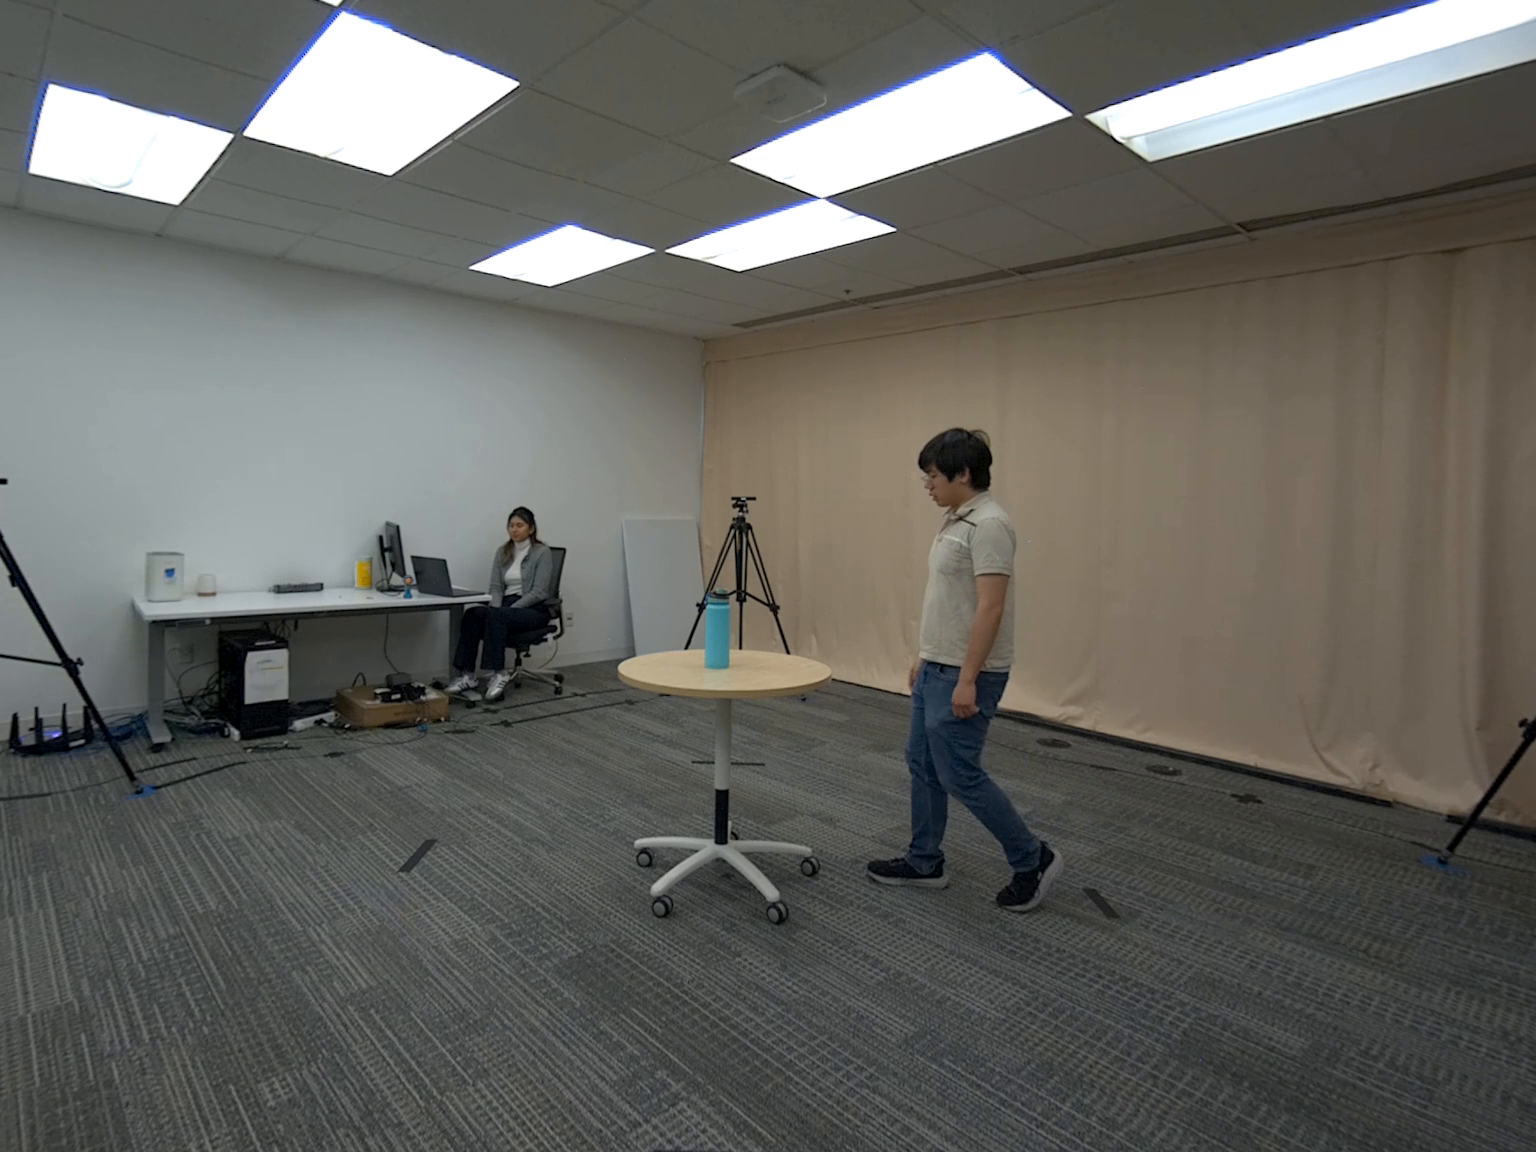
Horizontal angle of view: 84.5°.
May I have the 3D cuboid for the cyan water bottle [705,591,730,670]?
[{"bbox_3d":[-0.183,0.188,3.039,0.092,0.283,0.092,2,1,-1],"label":"cyan water bottle"}]
